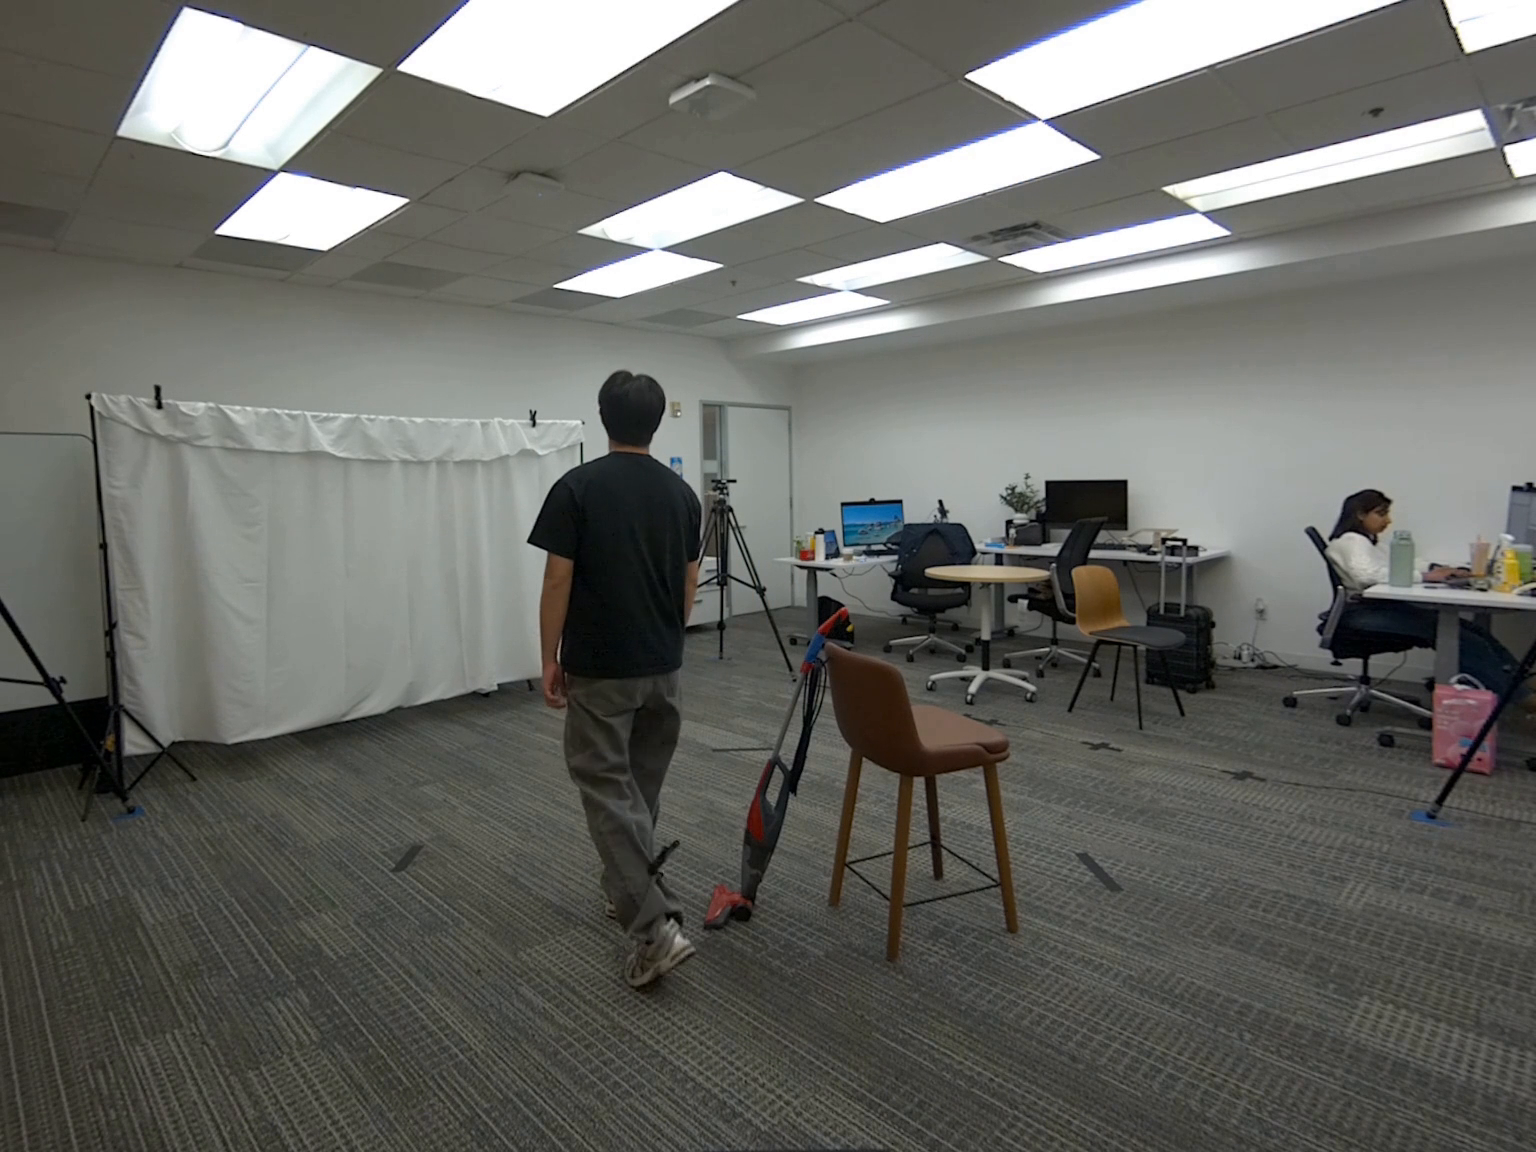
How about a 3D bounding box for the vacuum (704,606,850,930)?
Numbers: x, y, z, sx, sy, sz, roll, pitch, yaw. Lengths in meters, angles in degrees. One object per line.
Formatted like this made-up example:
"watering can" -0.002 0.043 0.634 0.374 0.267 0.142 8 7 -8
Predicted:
"vacuum" 0.063 0.590 2.709 0.144 1.045 0.253 21 7 0
